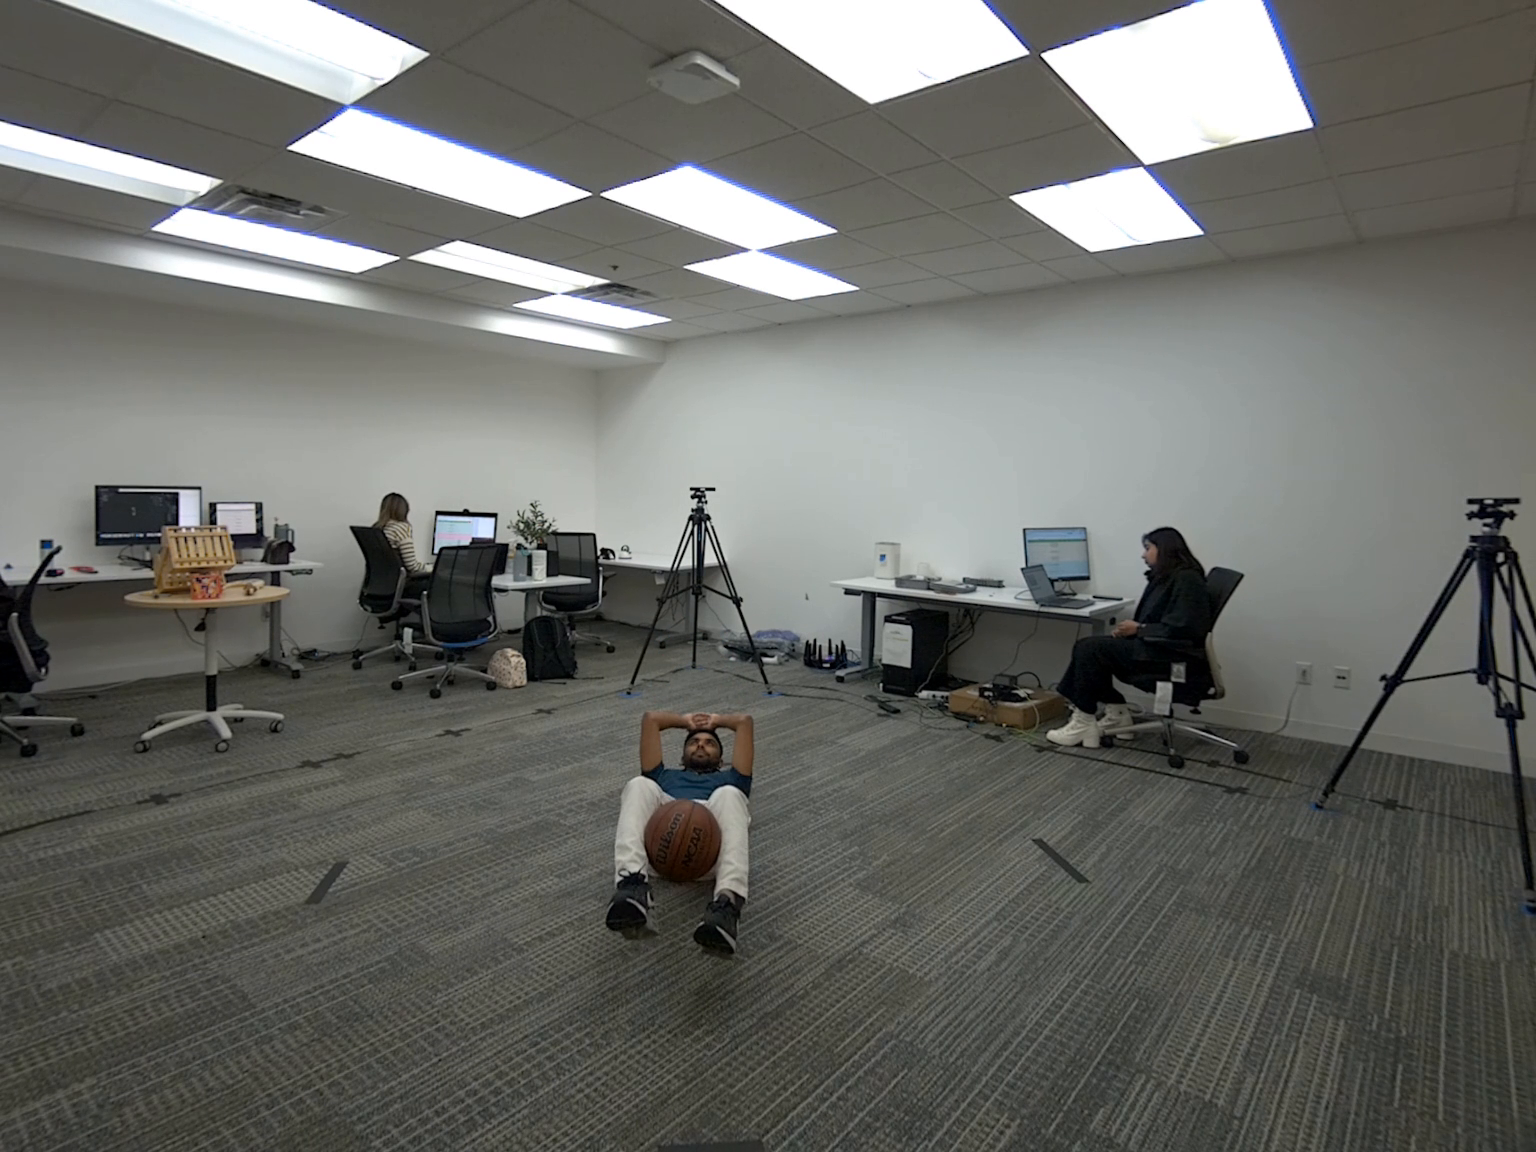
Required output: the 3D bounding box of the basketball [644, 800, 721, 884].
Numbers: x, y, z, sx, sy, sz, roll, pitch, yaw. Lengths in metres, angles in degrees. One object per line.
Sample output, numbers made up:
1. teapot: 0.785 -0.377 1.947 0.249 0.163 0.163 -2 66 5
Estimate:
1. basketball: -0.268 0.802 2.591 0.235 0.235 0.237 1 4 -2
